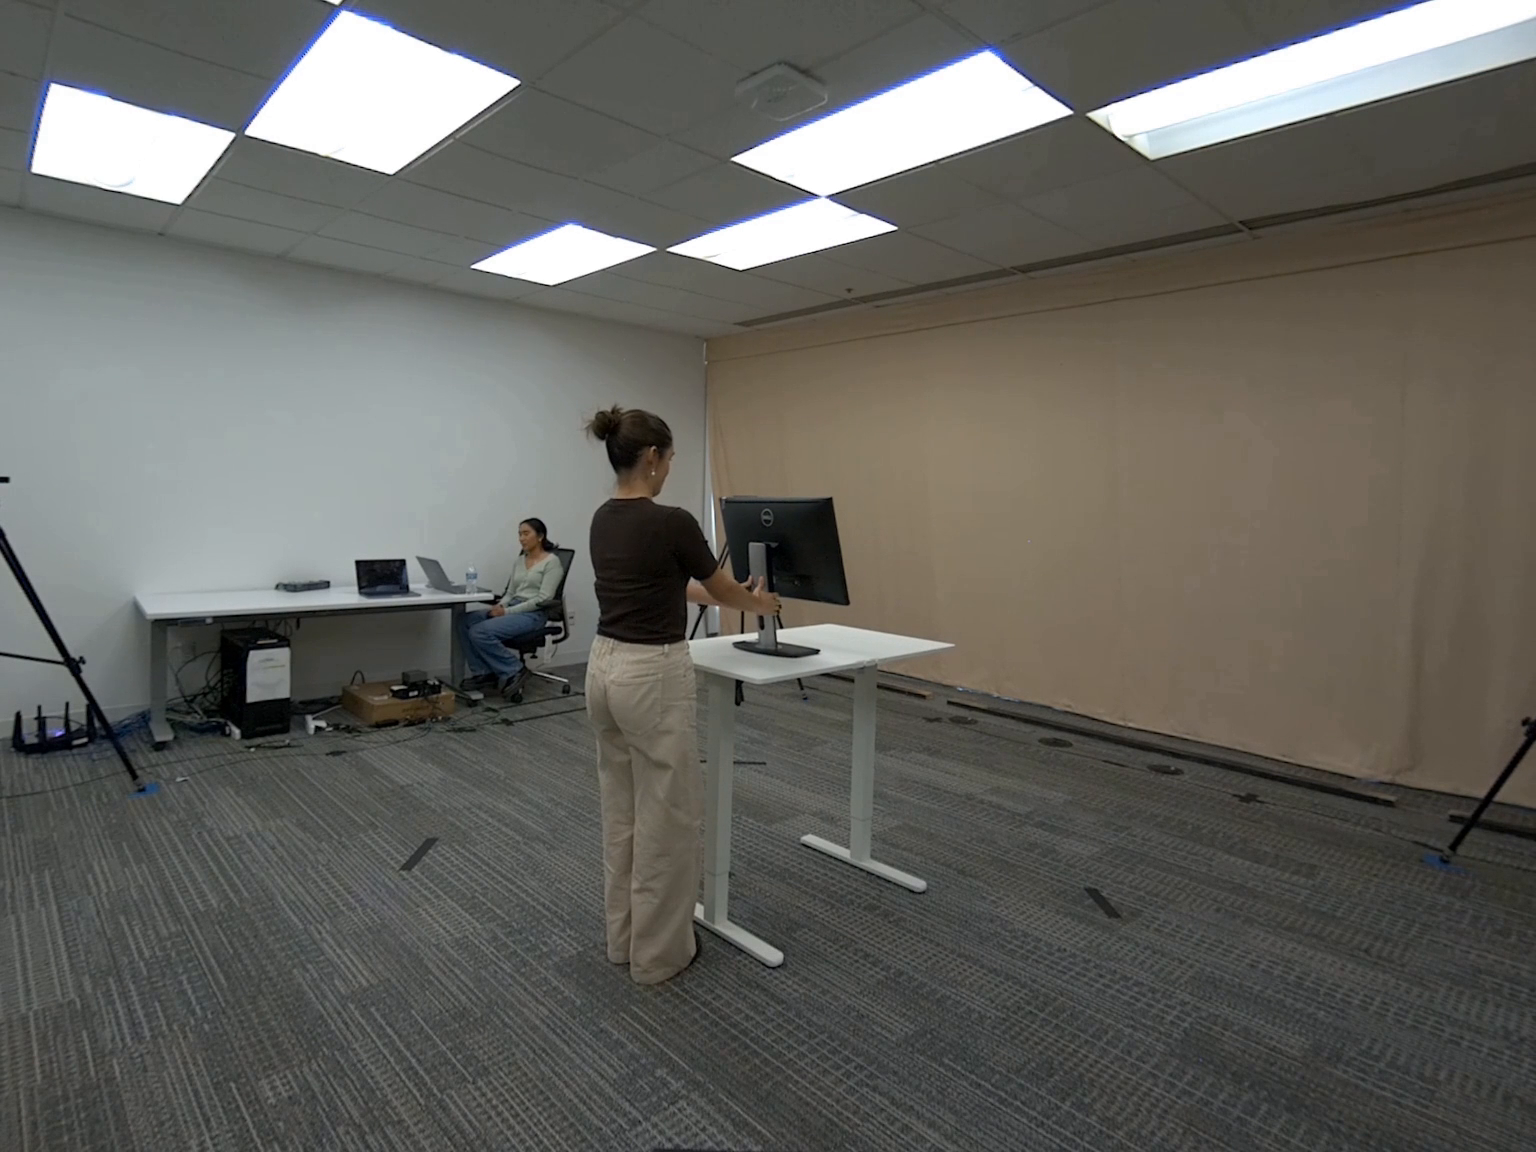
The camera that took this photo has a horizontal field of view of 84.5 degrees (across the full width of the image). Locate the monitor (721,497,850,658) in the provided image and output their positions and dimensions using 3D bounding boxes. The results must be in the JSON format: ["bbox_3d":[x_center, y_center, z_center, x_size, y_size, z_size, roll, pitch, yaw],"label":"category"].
[{"bbox_3d":[0.020,-0.002,2.798,0.183,0.521,0.553,-3,6,-42],"label":"monitor"}]
